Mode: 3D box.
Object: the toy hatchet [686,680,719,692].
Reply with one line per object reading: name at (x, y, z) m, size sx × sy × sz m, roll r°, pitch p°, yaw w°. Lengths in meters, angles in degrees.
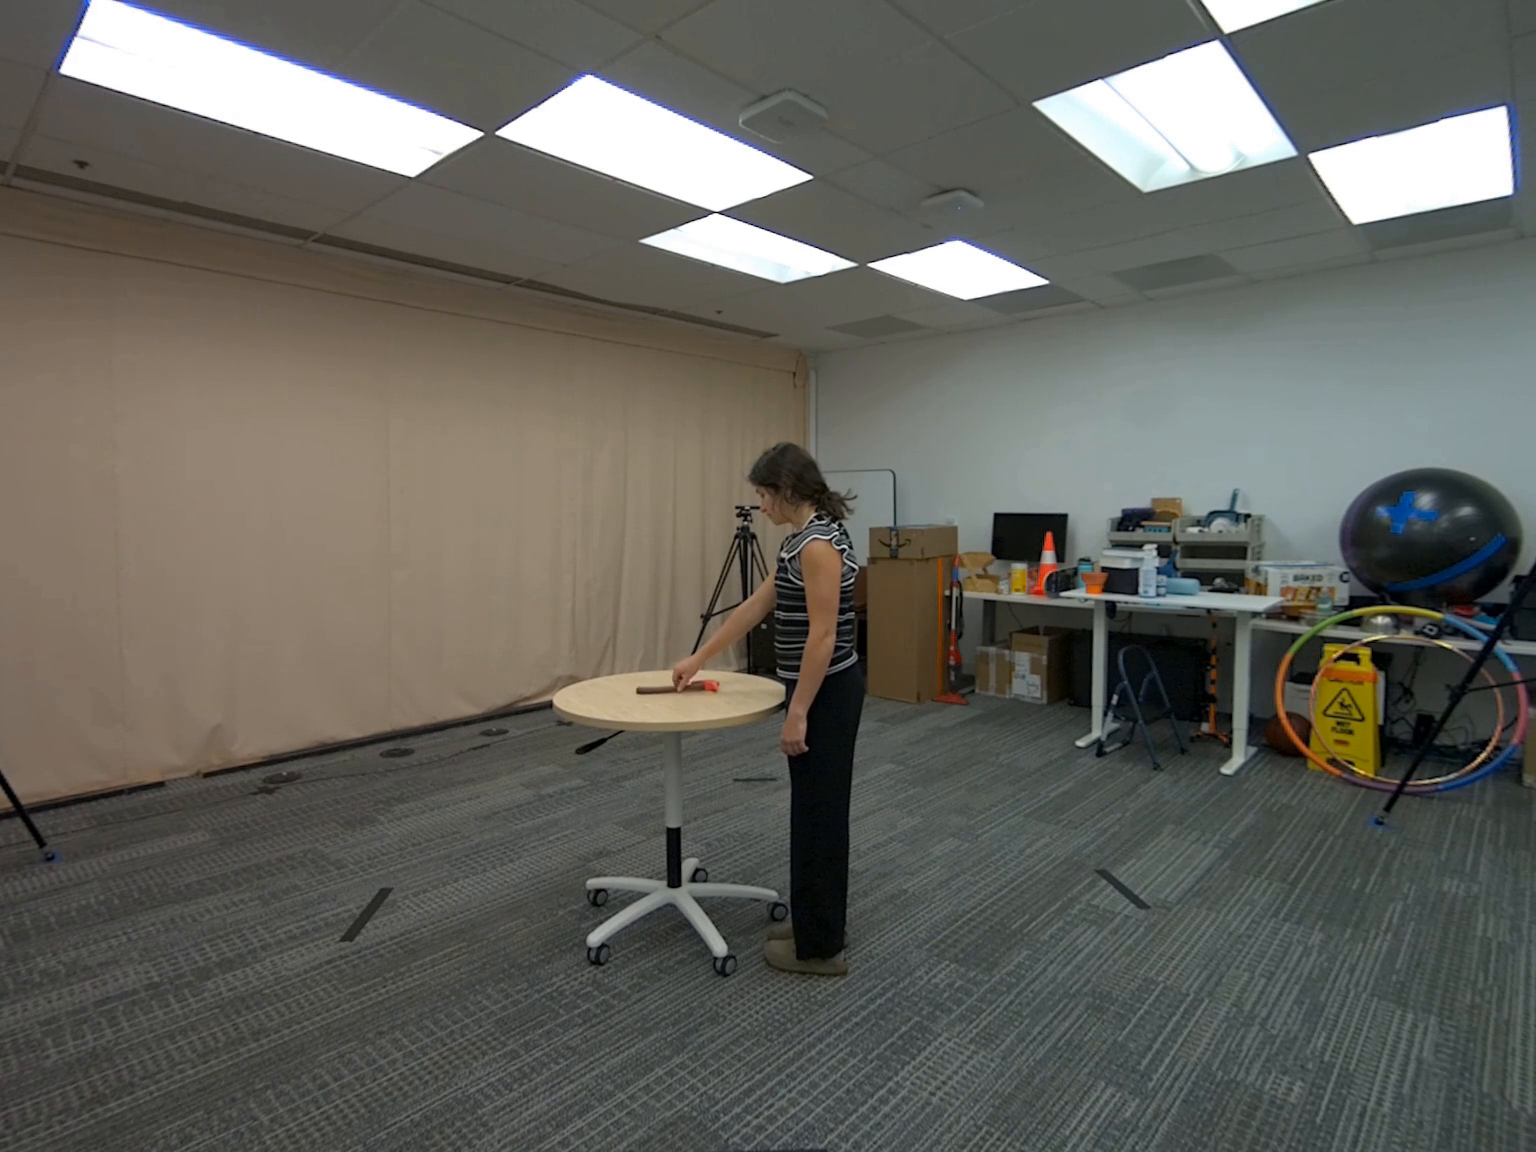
toy hatchet at (-0.297, 0.366, 2.790) m, size 0.270 × 0.029 × 0.131 m, roll -1°, pitch 4°, yaw 1°
